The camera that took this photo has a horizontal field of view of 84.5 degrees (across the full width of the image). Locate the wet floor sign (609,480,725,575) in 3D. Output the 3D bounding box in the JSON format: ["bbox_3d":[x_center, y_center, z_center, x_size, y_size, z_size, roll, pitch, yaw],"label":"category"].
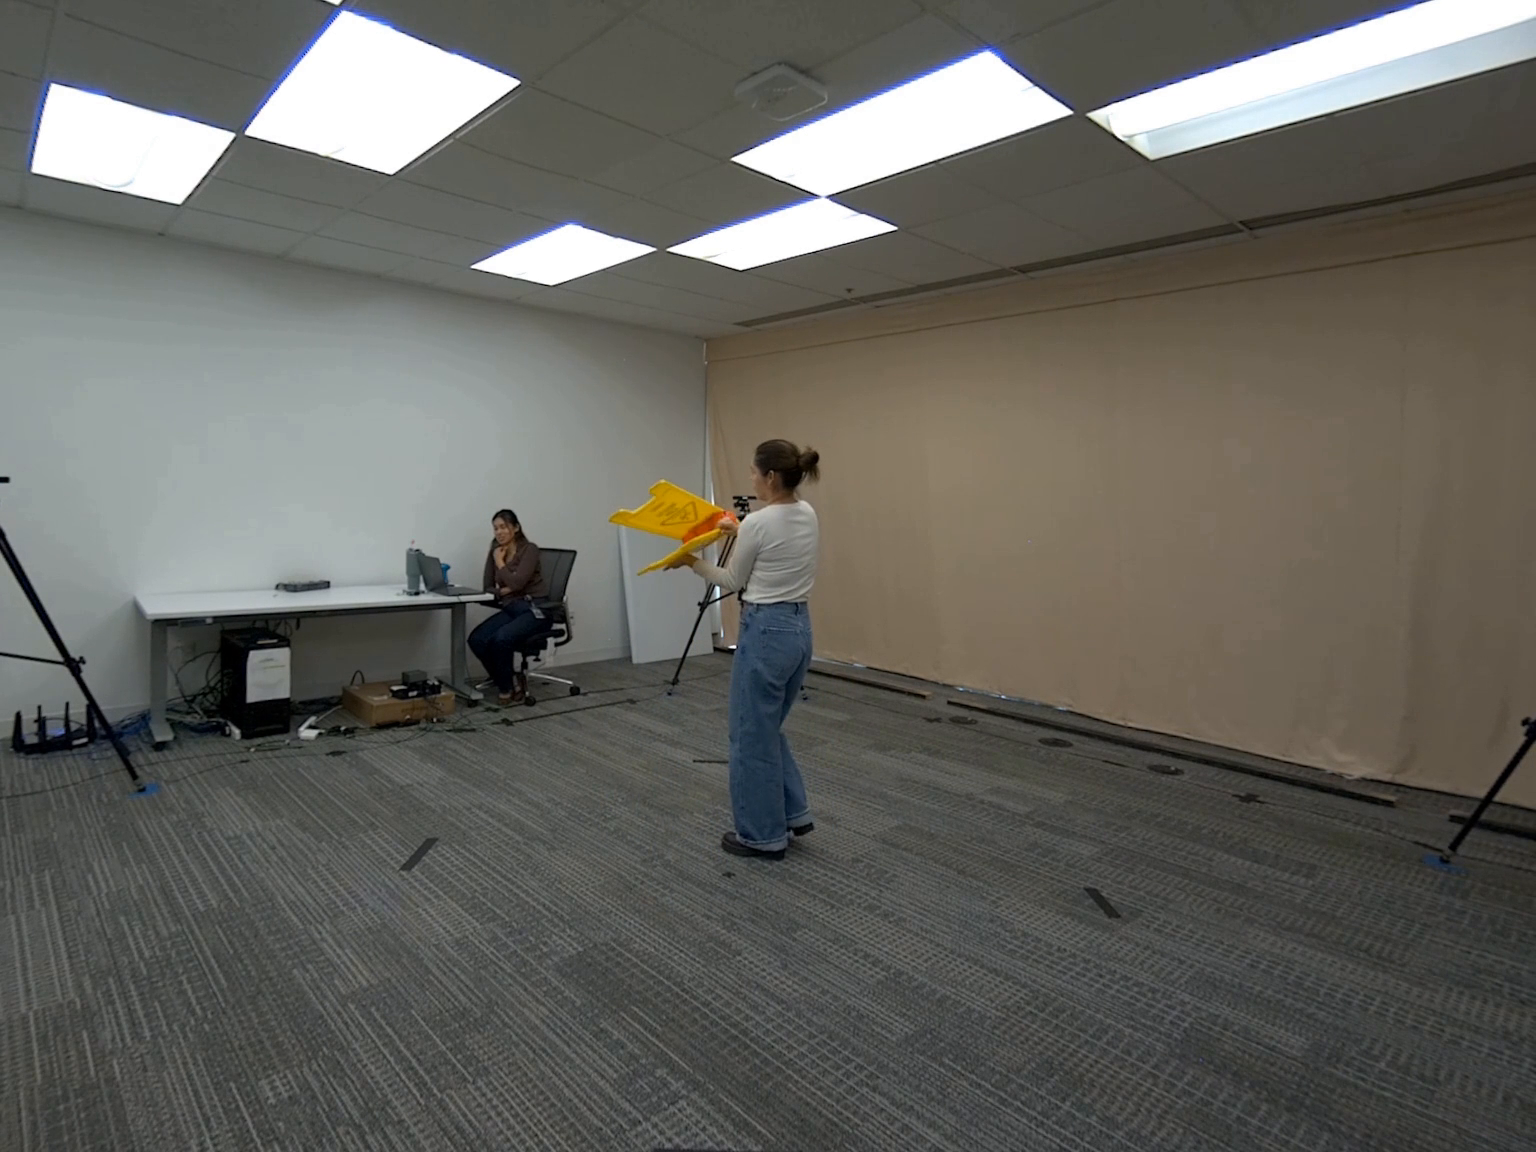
[{"bbox_3d":[-0.323,-0.182,3.412,0.283,0.293,0.636,-33,-10,20],"label":"wet floor sign"}]
